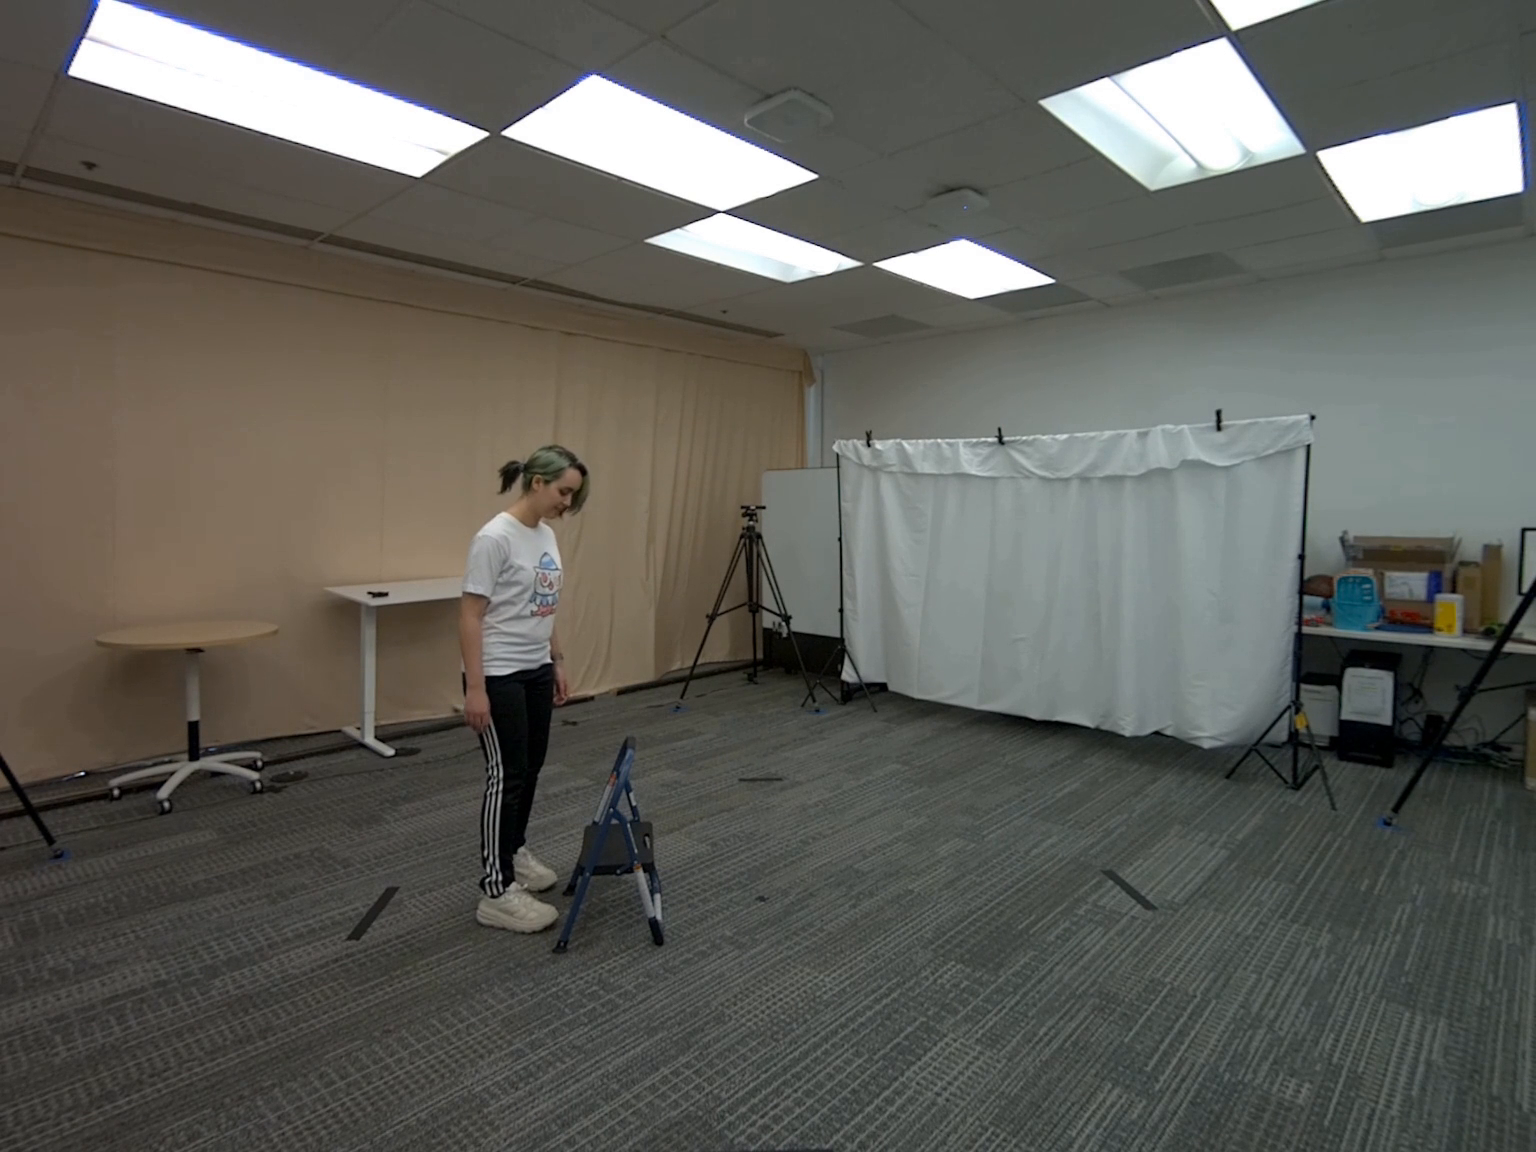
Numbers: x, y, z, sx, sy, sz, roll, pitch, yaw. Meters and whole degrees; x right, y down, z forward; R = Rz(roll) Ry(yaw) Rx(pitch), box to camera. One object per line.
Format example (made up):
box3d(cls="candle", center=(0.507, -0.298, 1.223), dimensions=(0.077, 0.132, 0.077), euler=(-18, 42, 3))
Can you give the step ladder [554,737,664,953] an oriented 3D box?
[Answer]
box3d(cls="step ladder", center=(-0.533, 0.861, 2.834), dimensions=(0.347, 0.605, 0.435), euler=(-1, 3, -8))
